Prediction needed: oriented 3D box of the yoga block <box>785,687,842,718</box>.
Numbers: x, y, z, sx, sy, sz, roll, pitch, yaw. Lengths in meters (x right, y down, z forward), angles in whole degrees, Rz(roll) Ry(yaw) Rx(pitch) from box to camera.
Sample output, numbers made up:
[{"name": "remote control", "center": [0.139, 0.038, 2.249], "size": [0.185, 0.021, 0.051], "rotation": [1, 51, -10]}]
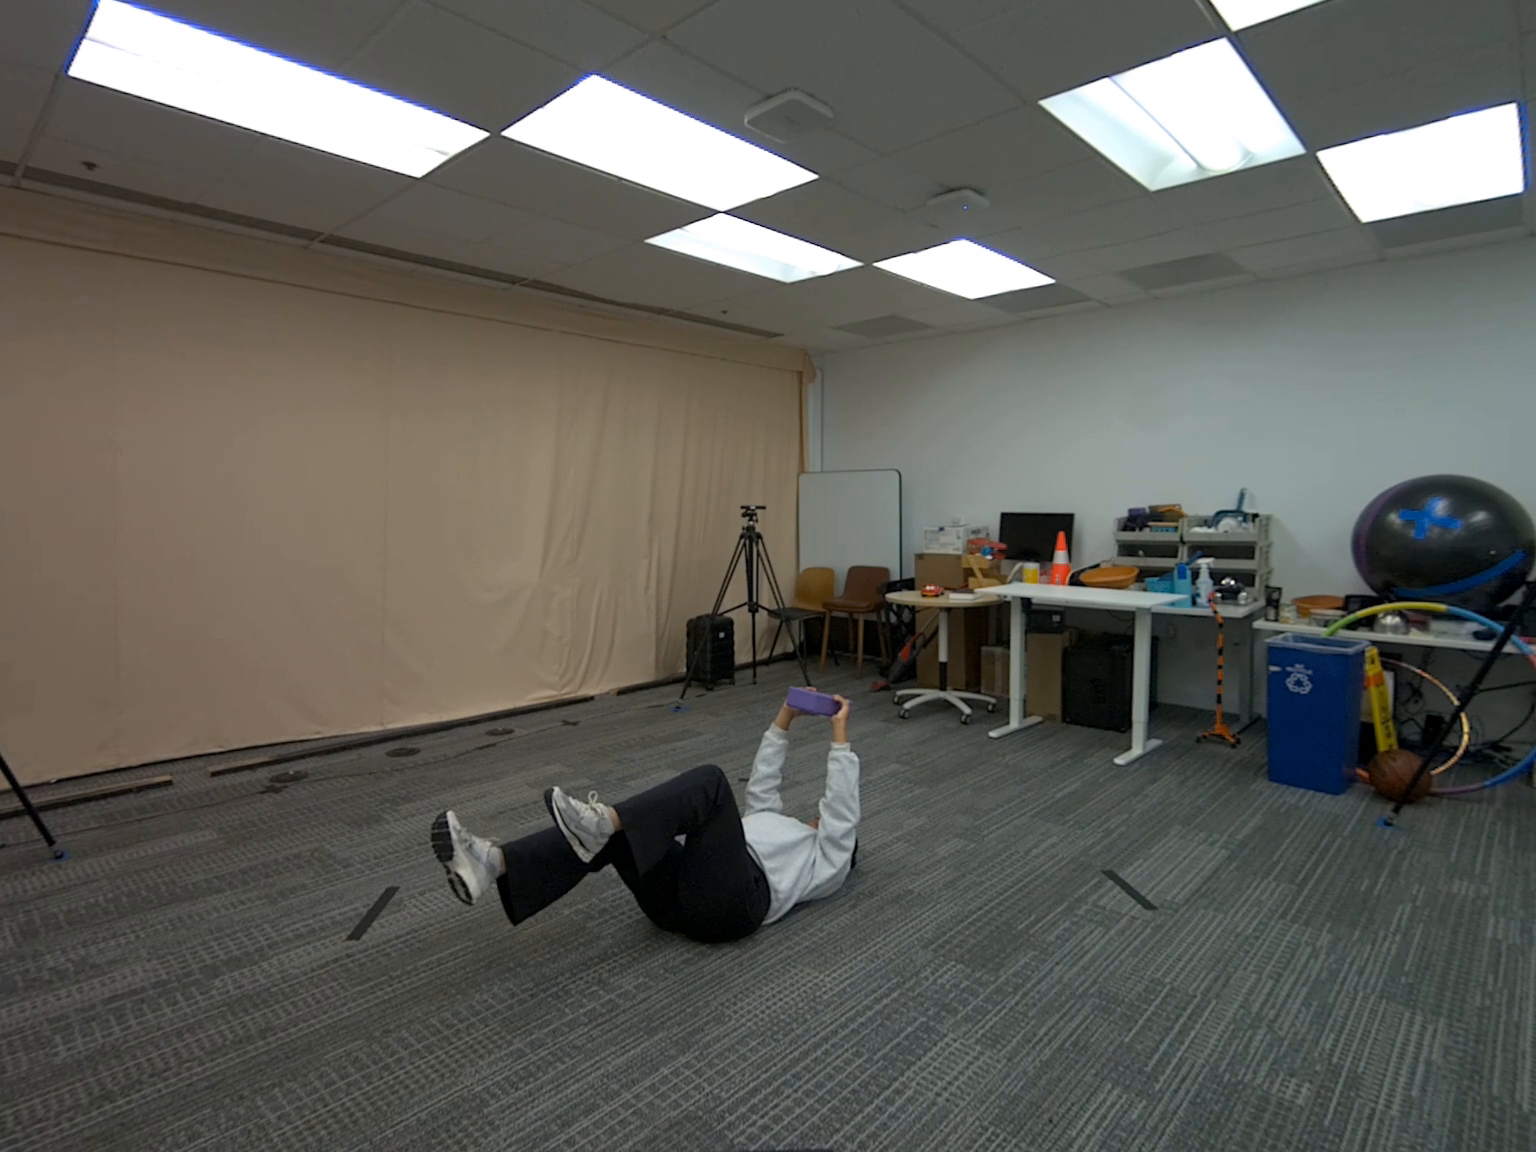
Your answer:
[{"name": "yoga block", "center": [0.205, 0.487, 3.219], "size": [0.154, 0.076, 0.221], "rotation": [9, -7, 42]}]
